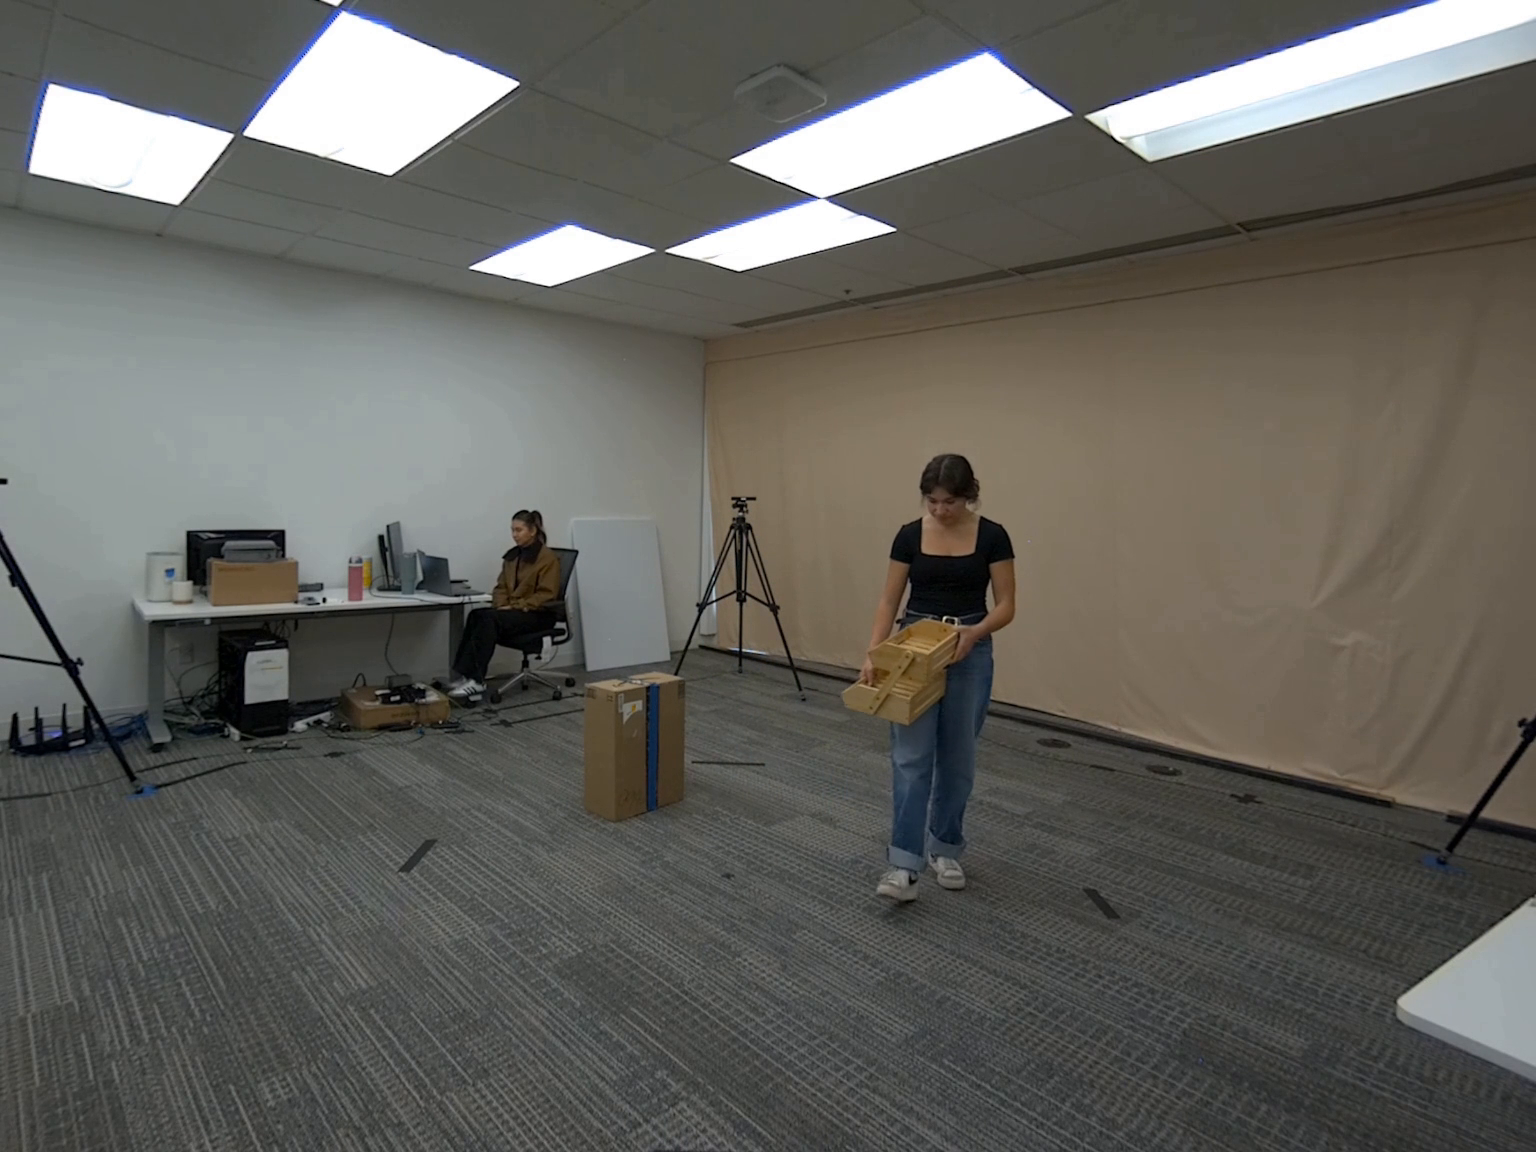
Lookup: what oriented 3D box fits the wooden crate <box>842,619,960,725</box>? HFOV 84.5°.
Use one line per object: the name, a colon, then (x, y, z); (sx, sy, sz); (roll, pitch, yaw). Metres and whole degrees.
wooden crate: (0.437, 0.304, 2.842); (0.309, 0.270, 0.320); (11, 19, 31)
